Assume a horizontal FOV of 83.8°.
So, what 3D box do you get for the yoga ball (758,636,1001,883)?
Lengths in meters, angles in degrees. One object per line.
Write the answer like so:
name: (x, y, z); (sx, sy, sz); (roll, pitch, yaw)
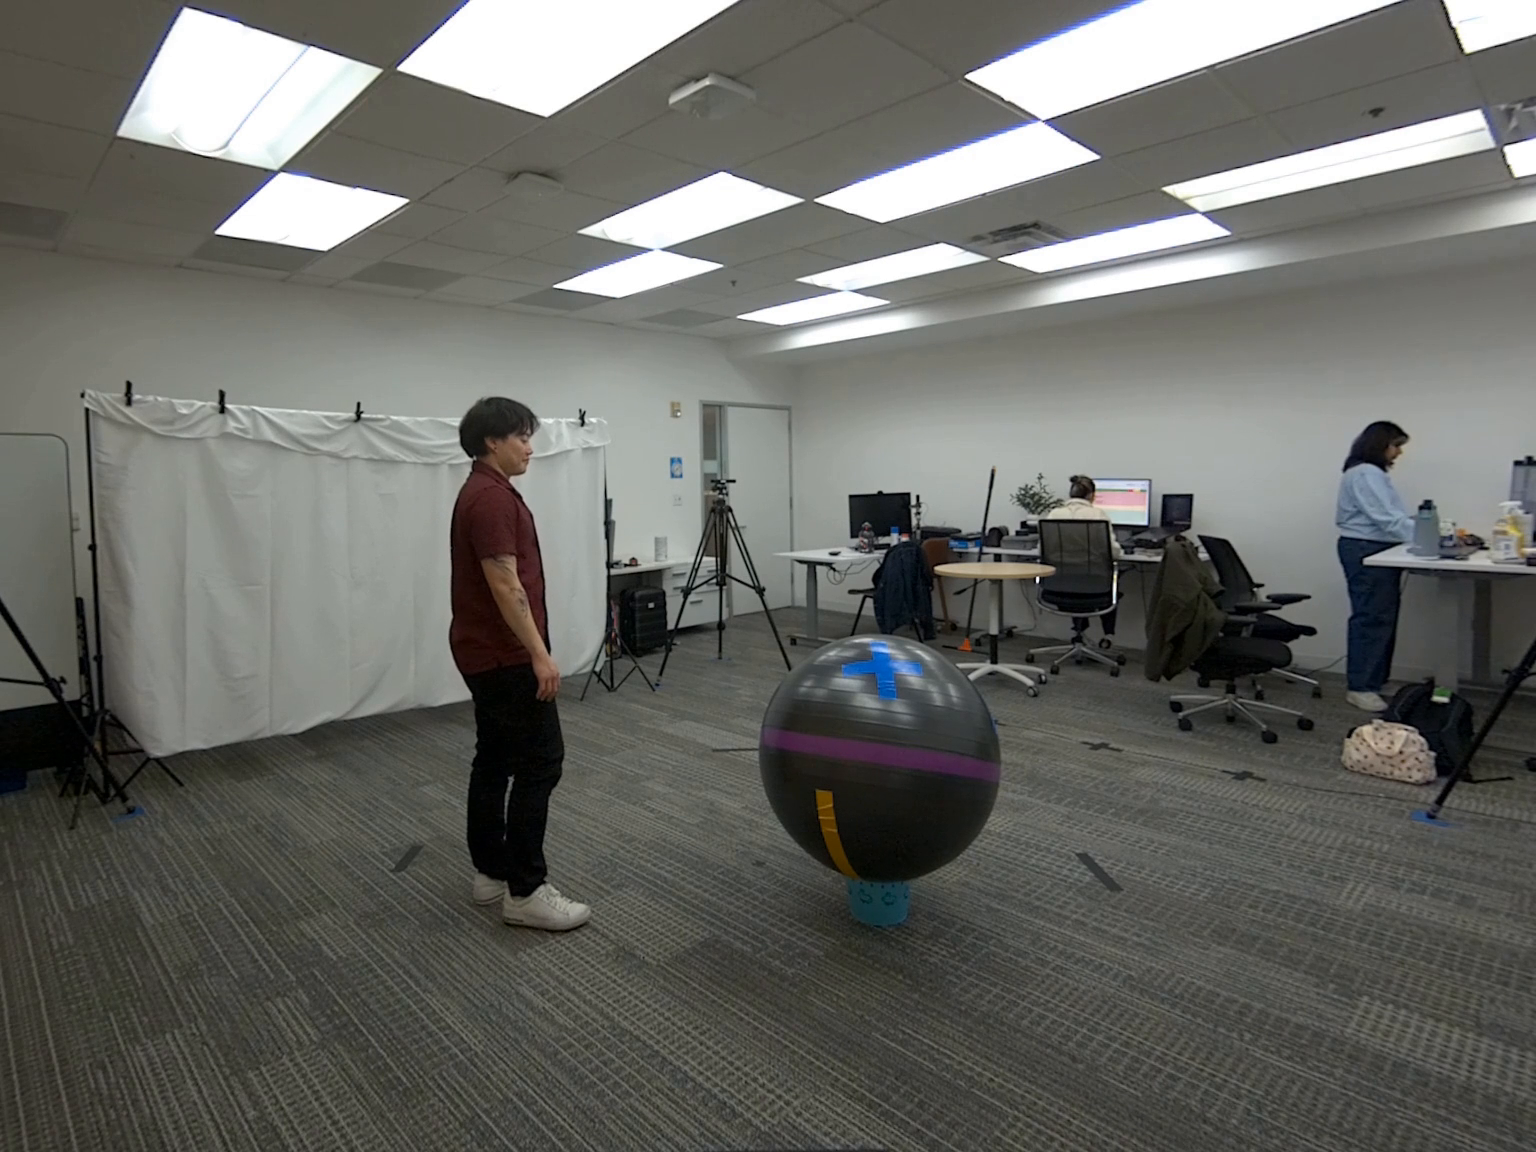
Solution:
yoga ball: (0.345, 0.566, 2.730); (0.757, 0.755, 0.762); (-1, 5, -2)
